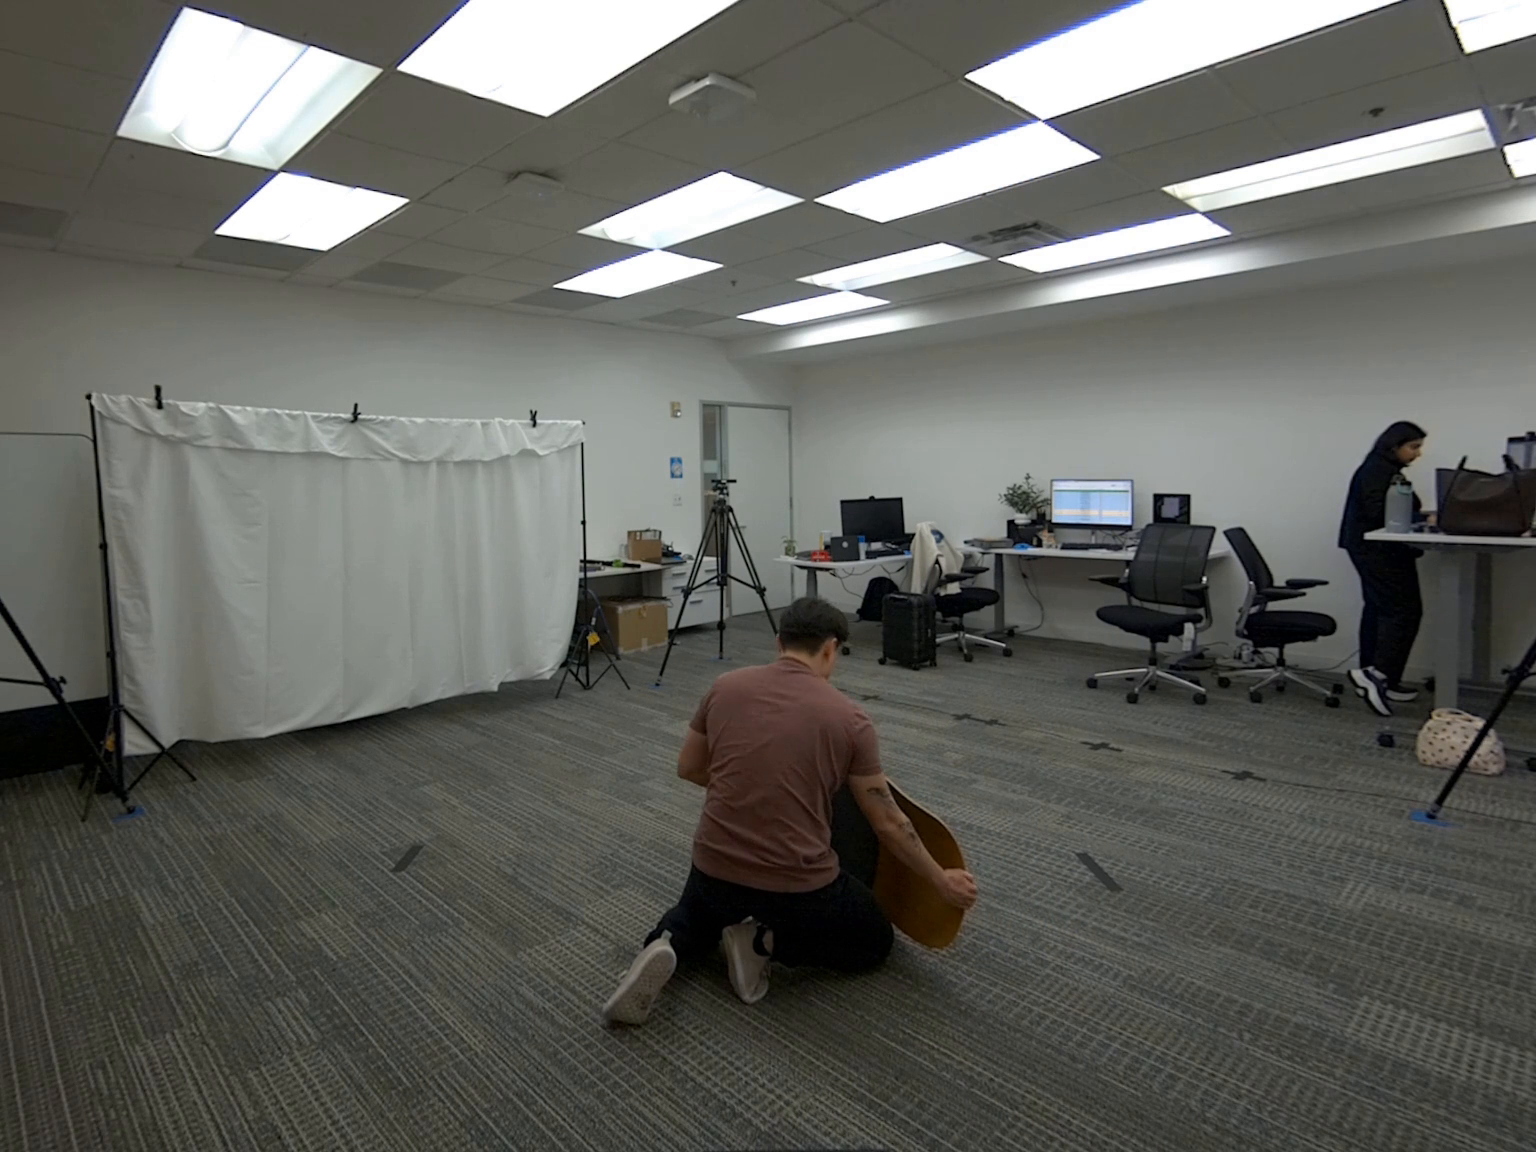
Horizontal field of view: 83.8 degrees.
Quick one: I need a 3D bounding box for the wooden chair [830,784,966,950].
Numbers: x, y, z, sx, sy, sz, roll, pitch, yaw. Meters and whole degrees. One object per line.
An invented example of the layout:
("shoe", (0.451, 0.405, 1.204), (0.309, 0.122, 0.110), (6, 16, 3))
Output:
("wooden chair", (0.178, 0.856, 2.744), (0.515, 0.476, 0.894), (-3, 5, -18))
